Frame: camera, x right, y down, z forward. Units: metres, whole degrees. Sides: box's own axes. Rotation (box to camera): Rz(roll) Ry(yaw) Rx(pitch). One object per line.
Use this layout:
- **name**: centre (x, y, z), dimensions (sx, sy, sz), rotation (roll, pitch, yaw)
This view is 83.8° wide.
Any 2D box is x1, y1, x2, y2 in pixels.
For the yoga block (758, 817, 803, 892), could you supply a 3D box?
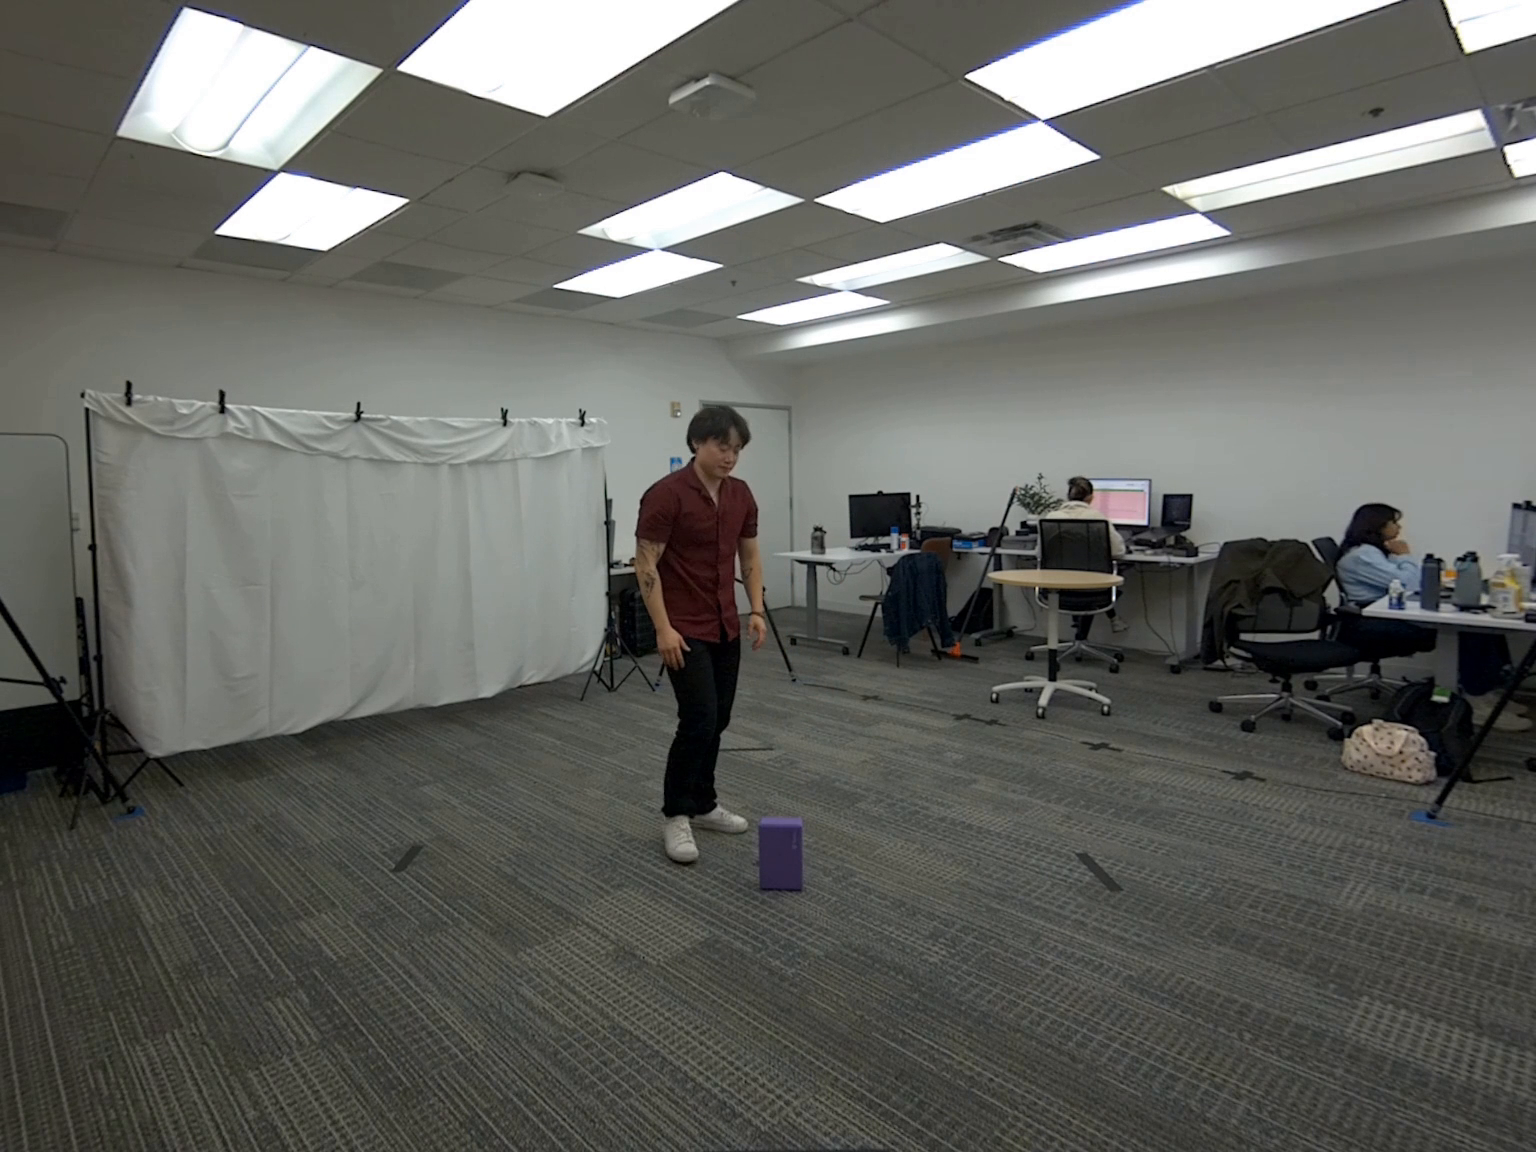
- **yoga block**: centre (0.048, 0.953, 2.924), dimensions (0.150, 0.229, 0.076), rotation (0, 3, 6)
